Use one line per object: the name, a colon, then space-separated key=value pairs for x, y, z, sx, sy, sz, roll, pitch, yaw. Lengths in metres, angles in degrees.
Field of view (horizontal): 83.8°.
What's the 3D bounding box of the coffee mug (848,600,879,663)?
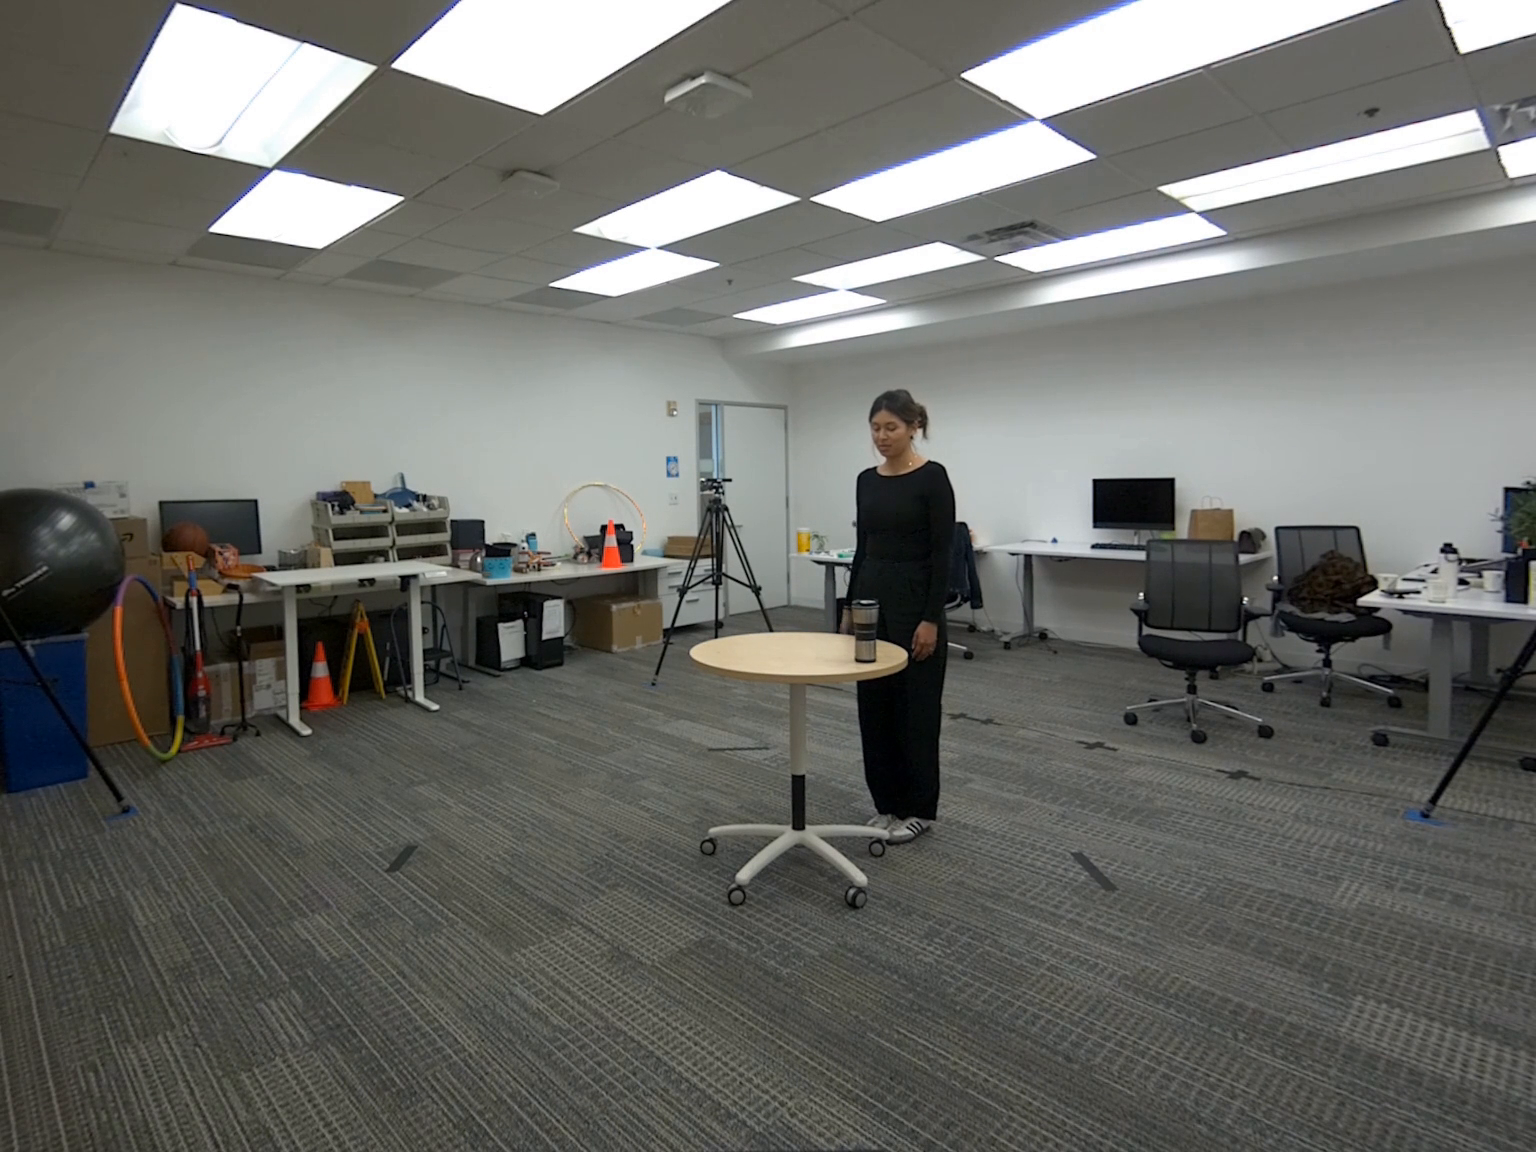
coffee mug: x=0.350 y=0.183 z=2.851 sx=0.090 sy=0.202 sz=0.119 roll=-1 pitch=7 yaw=43
